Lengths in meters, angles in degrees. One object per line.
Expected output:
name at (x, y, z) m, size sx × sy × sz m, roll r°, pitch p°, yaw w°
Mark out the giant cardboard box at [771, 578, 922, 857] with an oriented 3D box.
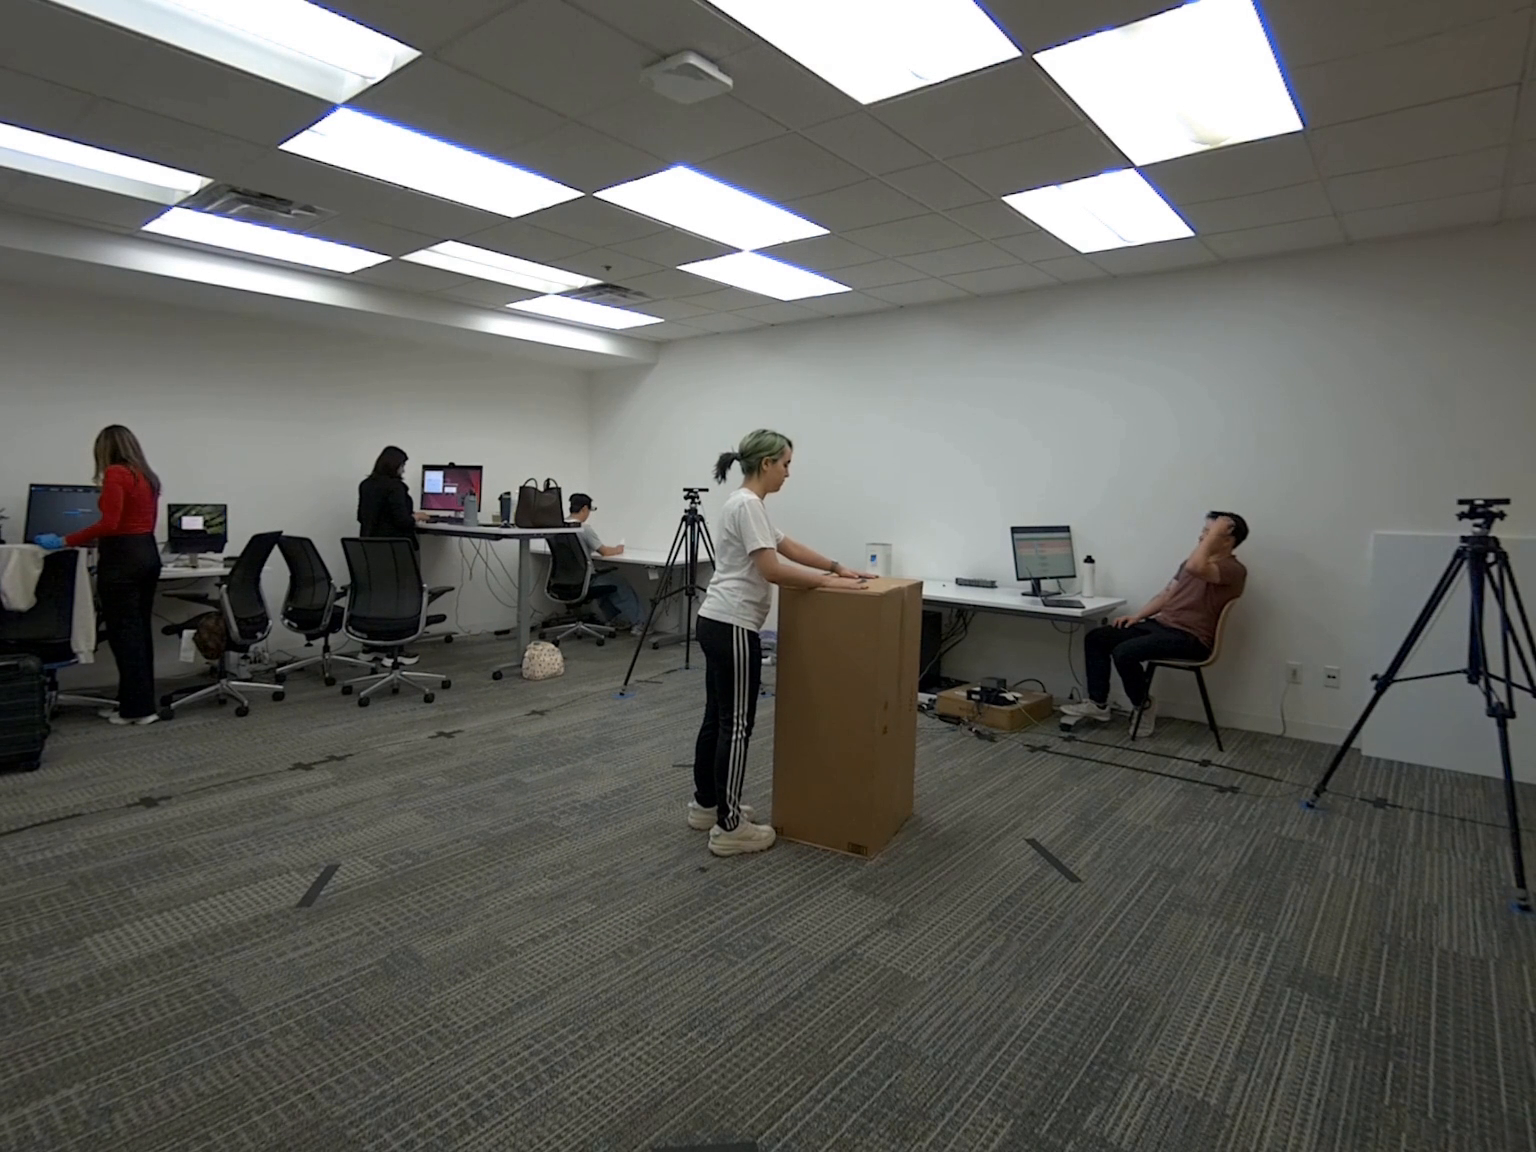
giant cardboard box at (0.332, 0.534, 3.538) m, size 0.459 × 1.023 × 0.570 m, roll 4°, pitch 5°, yaw 26°
